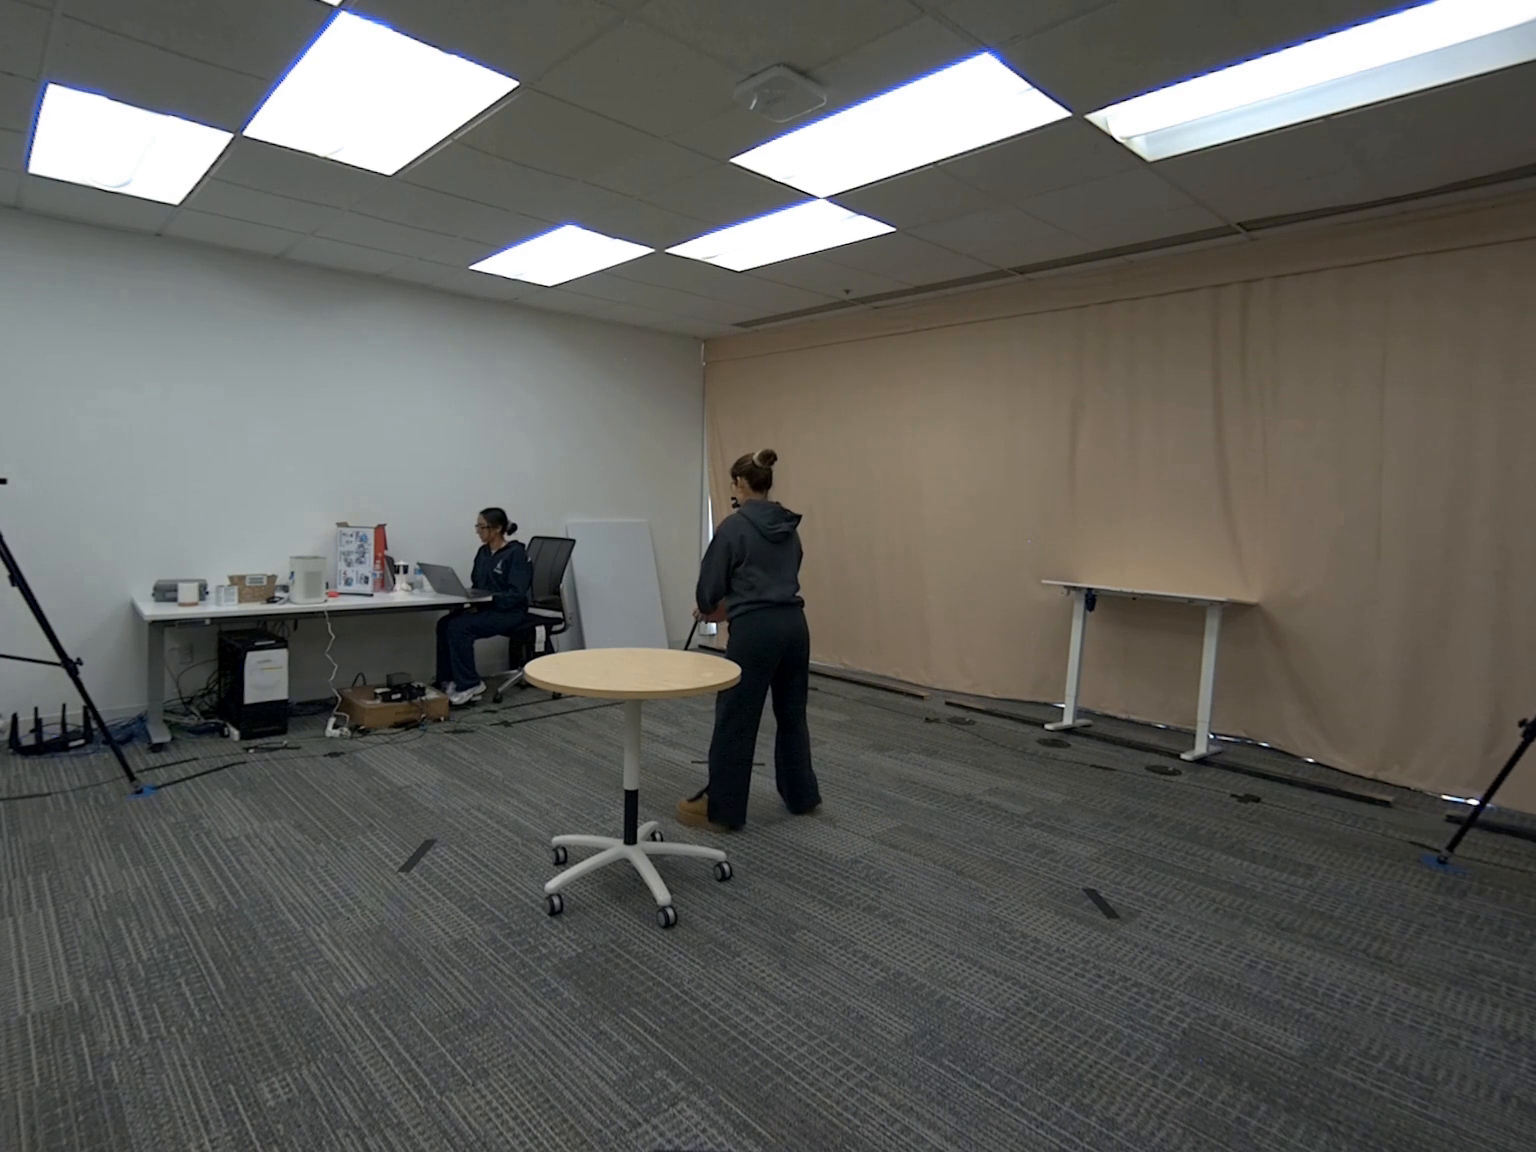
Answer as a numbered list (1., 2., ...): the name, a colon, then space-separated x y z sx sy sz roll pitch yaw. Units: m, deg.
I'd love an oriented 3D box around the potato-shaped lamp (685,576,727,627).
1. potato-shaped lamp: -0.264 0.119 3.998 0.161 0.197 0.176 4 9 -36
